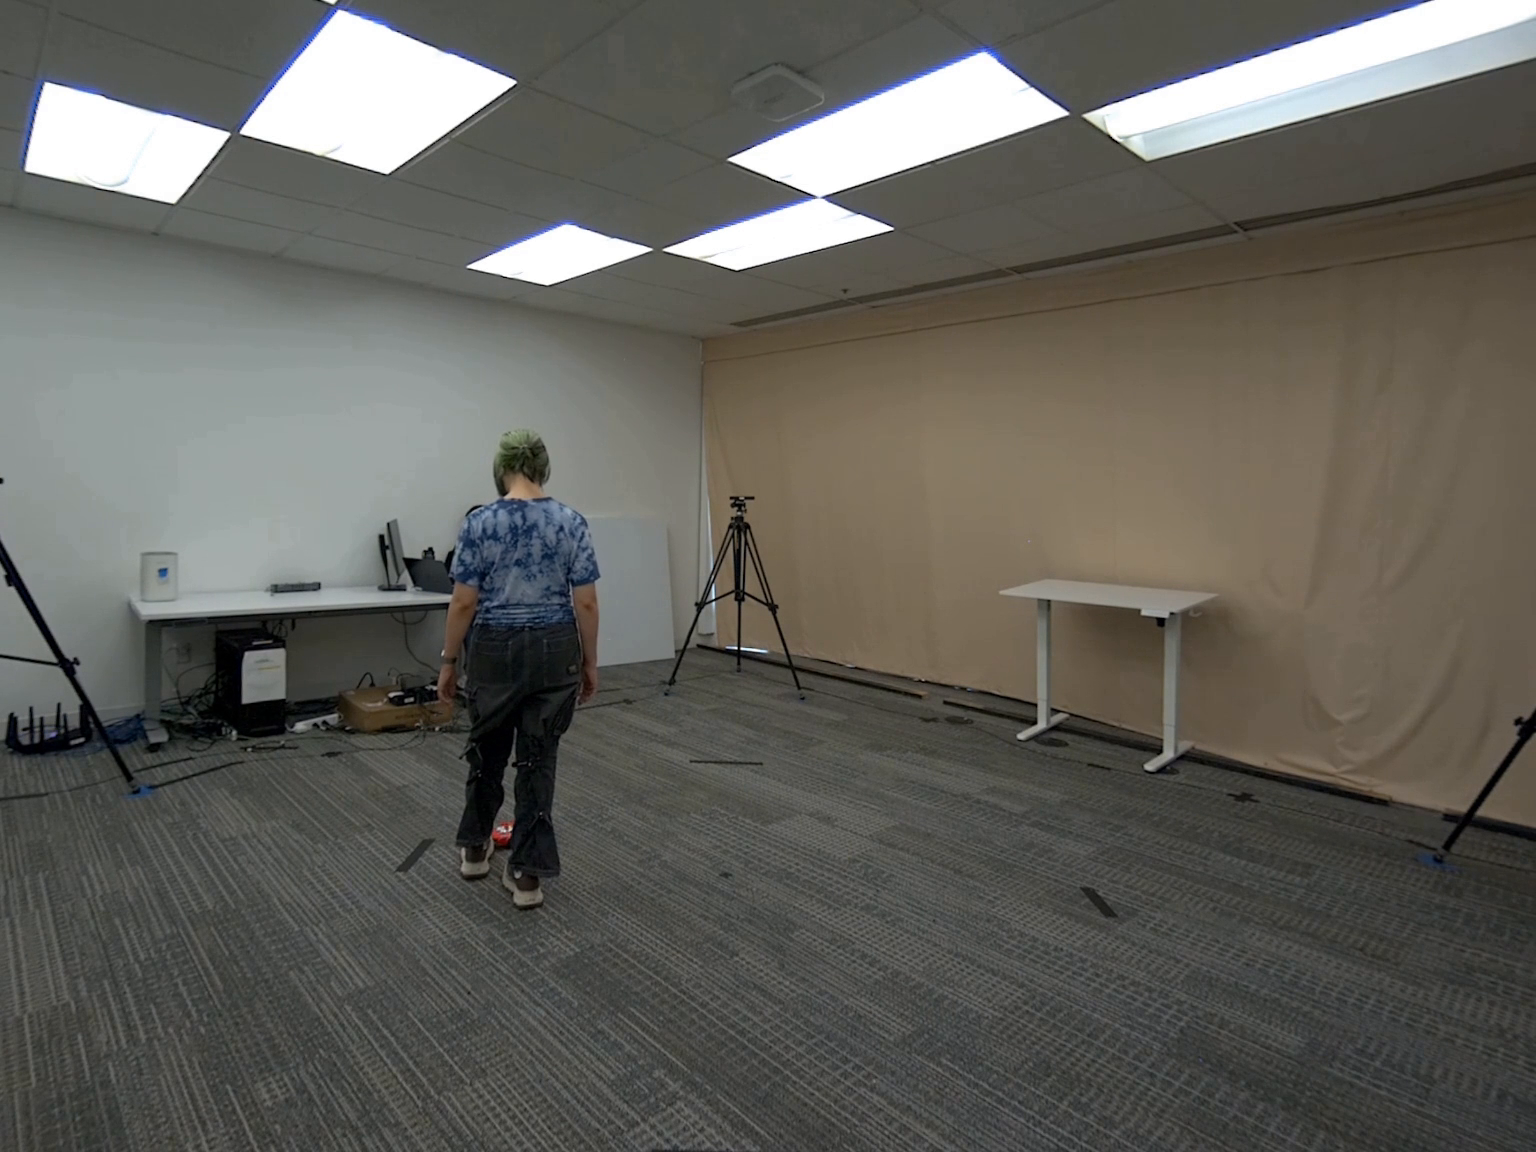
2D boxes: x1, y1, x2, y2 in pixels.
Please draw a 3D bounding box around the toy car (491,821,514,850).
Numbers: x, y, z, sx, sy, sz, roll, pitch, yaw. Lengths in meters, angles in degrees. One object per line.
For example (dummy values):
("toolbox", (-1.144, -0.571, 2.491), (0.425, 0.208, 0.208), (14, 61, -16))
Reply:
("toy car", (-1.006, 1.028, 3.360), (0.133, 0.083, 0.247), (5, -5, 45))
